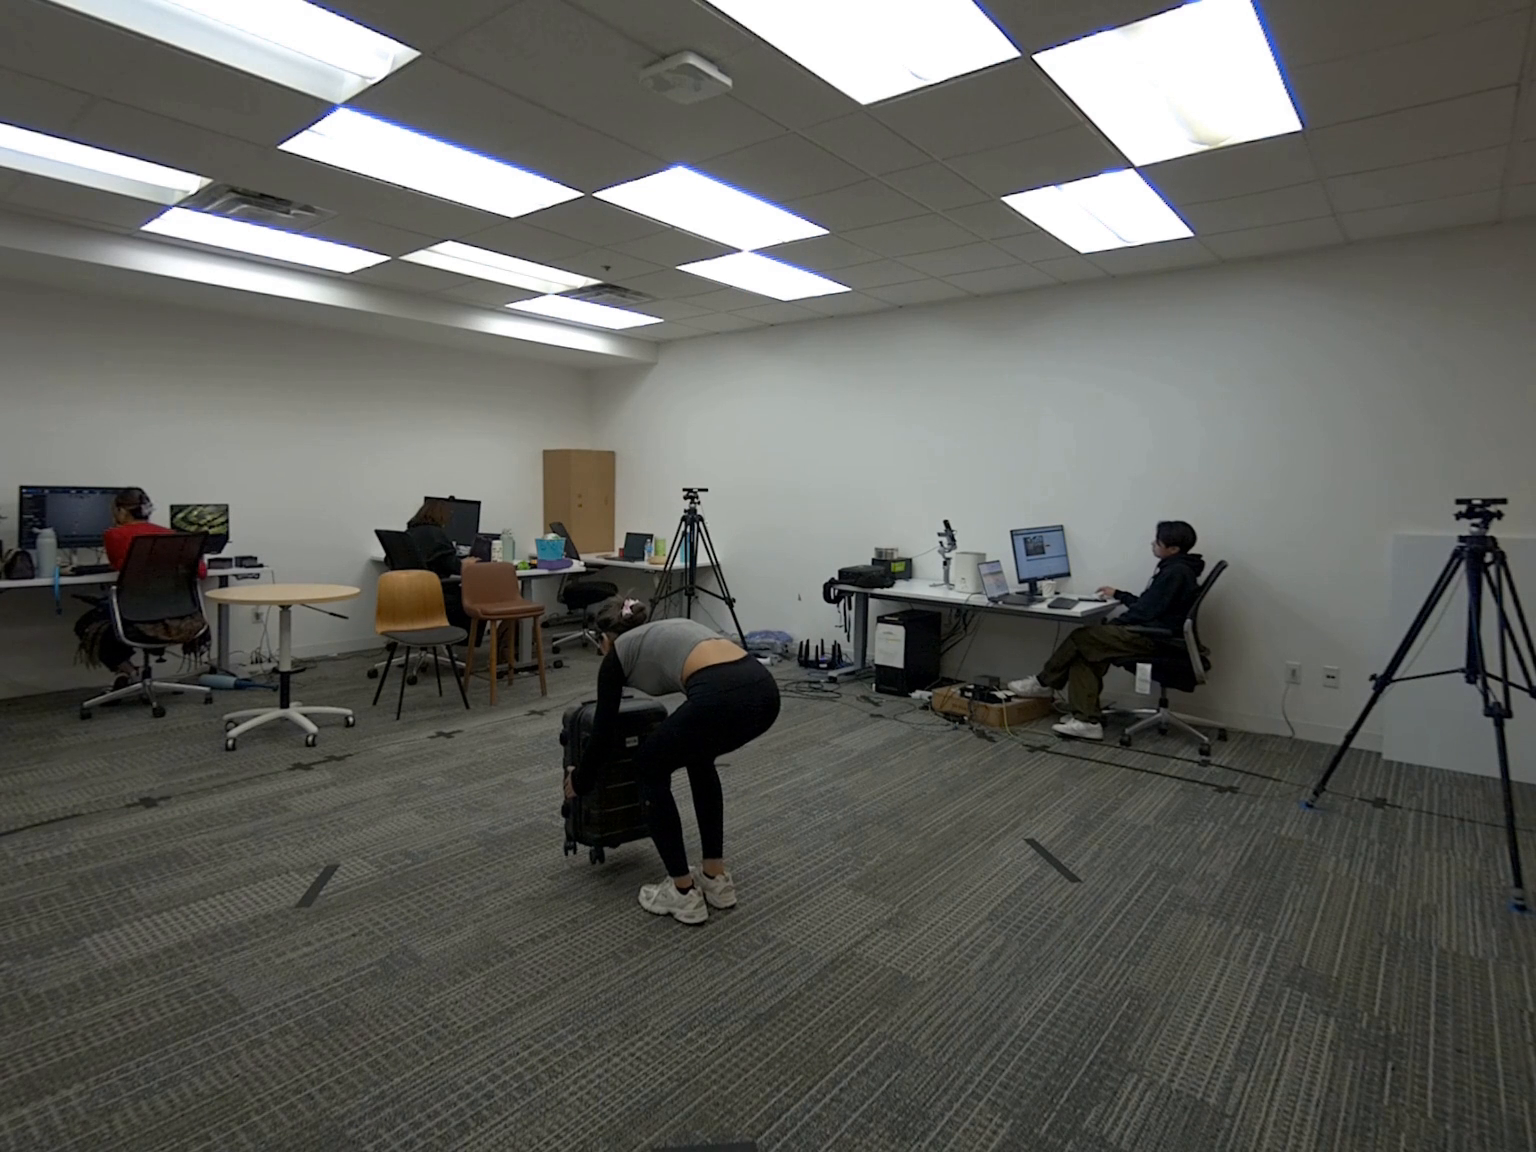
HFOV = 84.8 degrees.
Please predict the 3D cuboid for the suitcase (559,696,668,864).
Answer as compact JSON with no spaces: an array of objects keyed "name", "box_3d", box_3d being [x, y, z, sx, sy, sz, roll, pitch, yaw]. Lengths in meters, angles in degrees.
[{"name":"suitcase","box_3d":[-0.568,0.727,3.143,0.364,0.551,0.255,0,-4,-38]}]
